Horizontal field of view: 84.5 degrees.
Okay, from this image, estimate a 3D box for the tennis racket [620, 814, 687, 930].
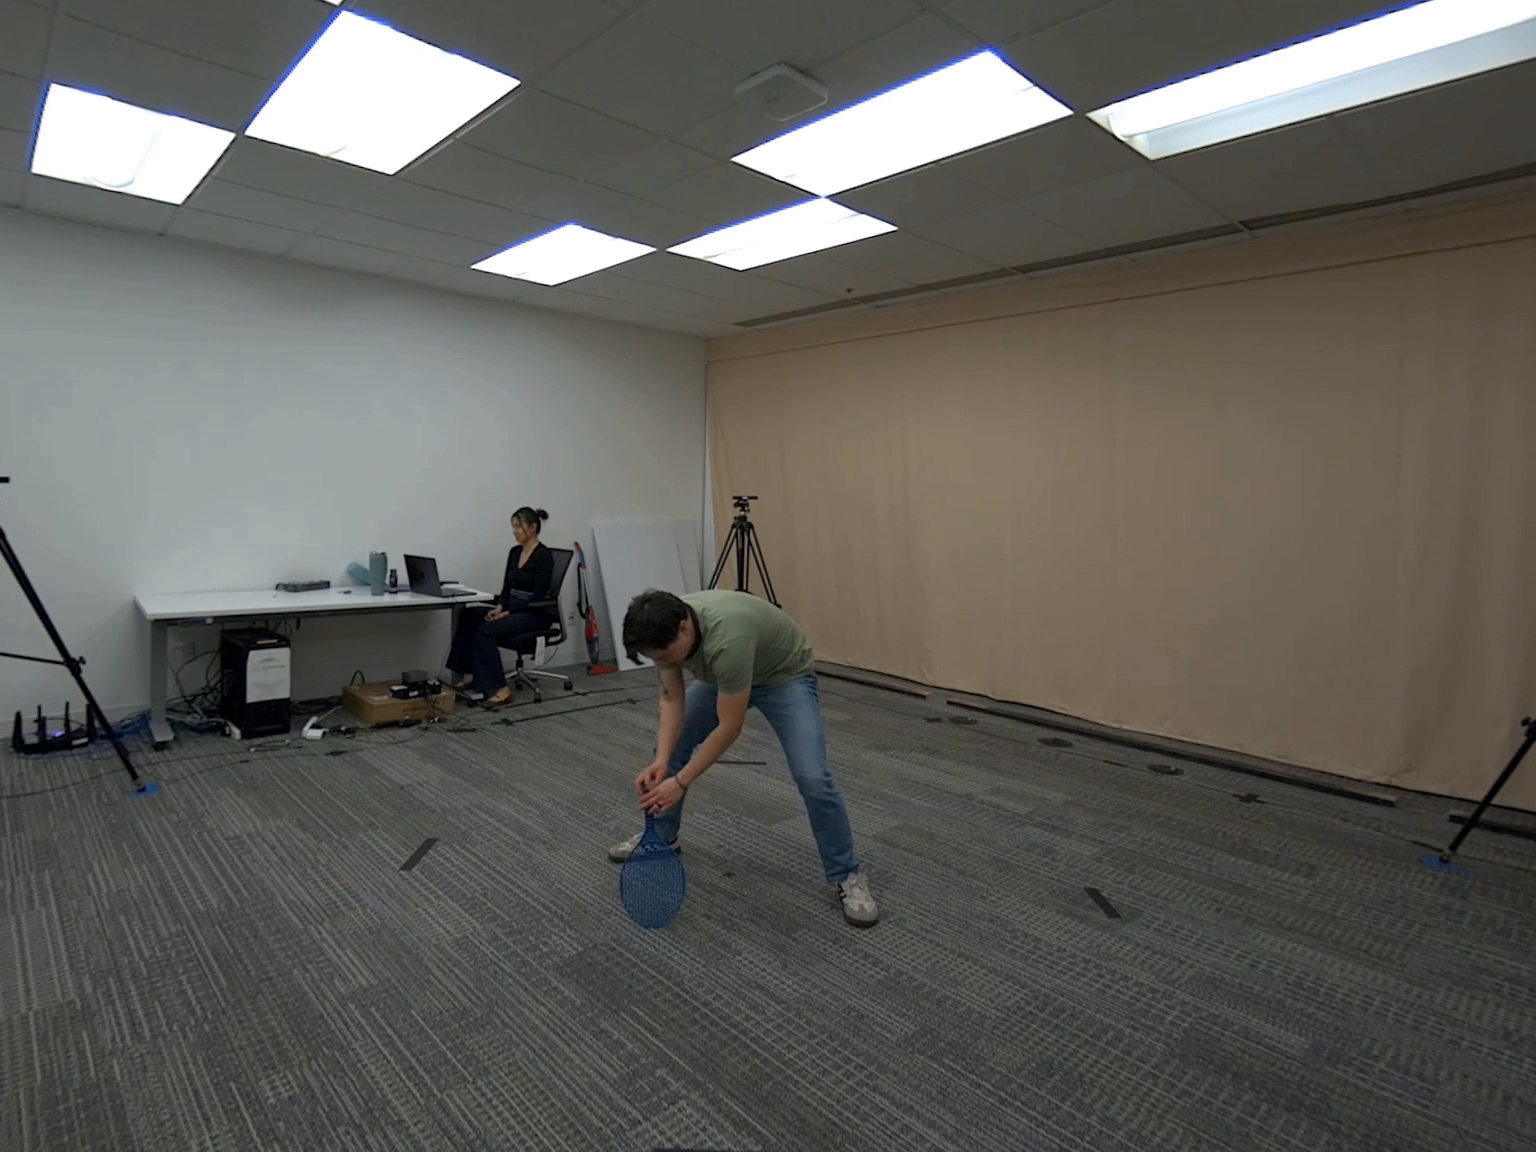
[{"bbox_3d":[-0.395,0.925,2.747,0.212,0.436,0.032,-3,-9,-7],"label":"tennis racket"}]
